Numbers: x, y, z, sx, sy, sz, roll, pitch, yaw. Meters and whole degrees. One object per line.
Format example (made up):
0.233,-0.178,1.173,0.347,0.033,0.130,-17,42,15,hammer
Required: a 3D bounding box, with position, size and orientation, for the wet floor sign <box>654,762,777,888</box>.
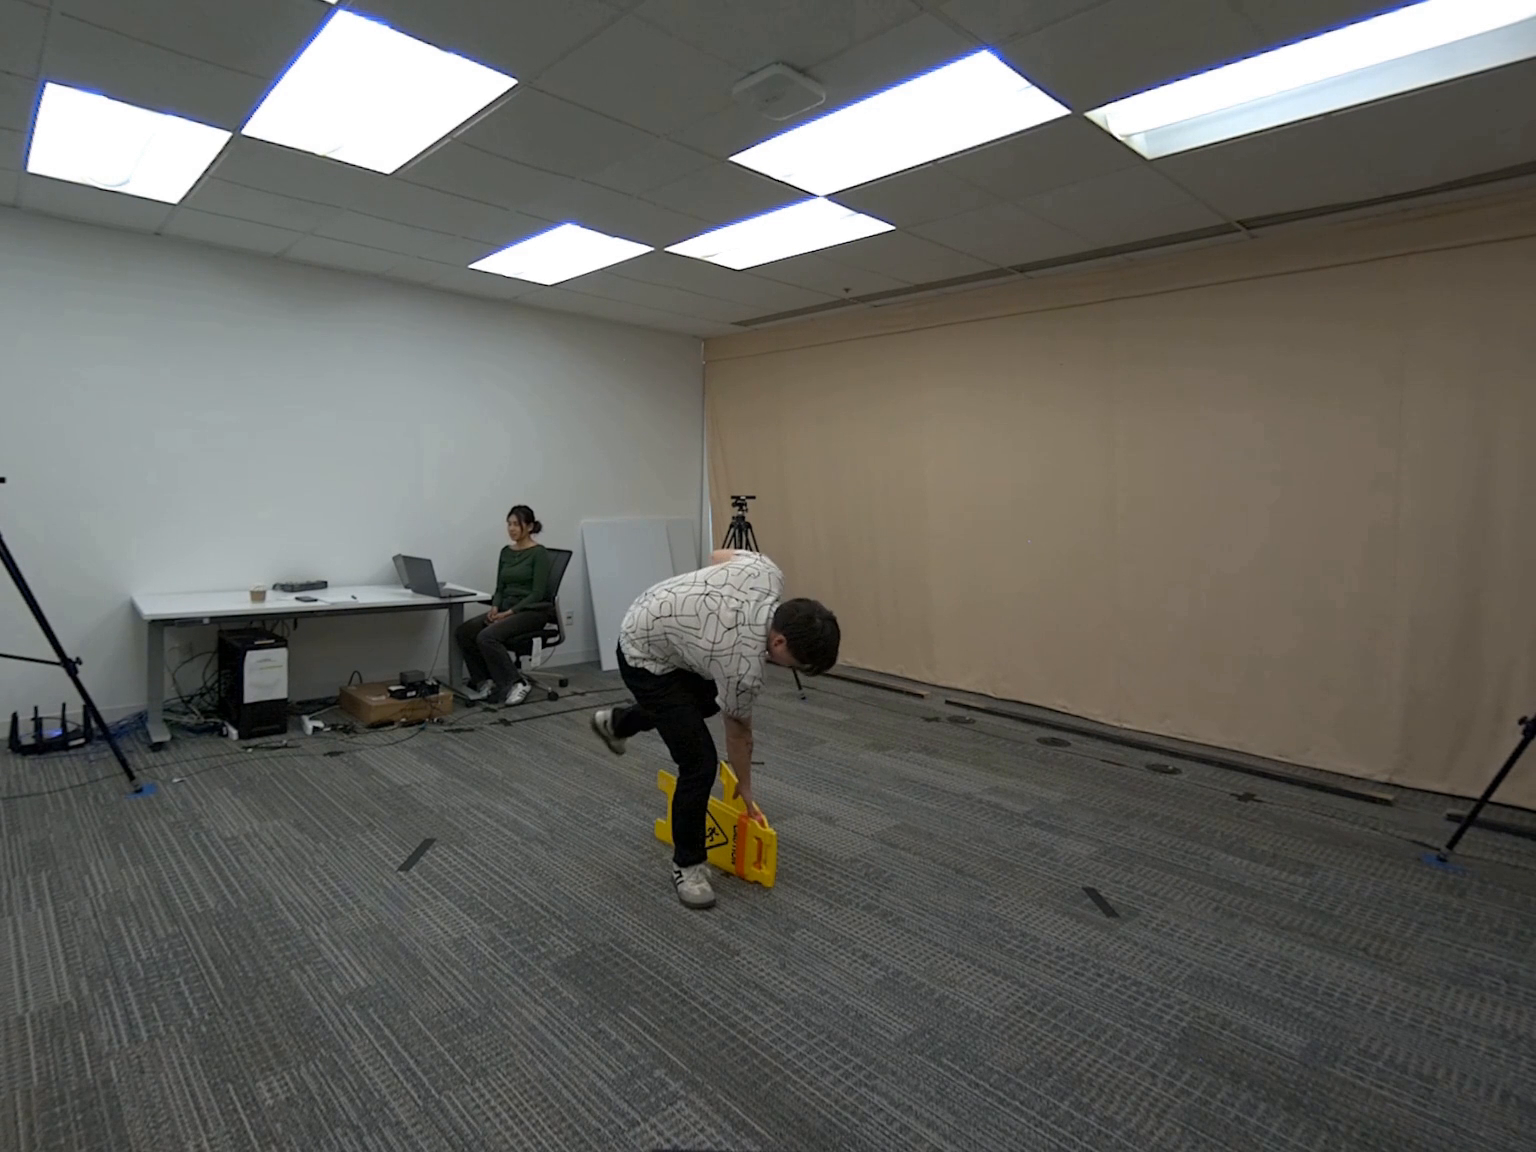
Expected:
-0.164,0.959,3.228,0.284,0.281,0.662,-2,7,-33,wet floor sign
